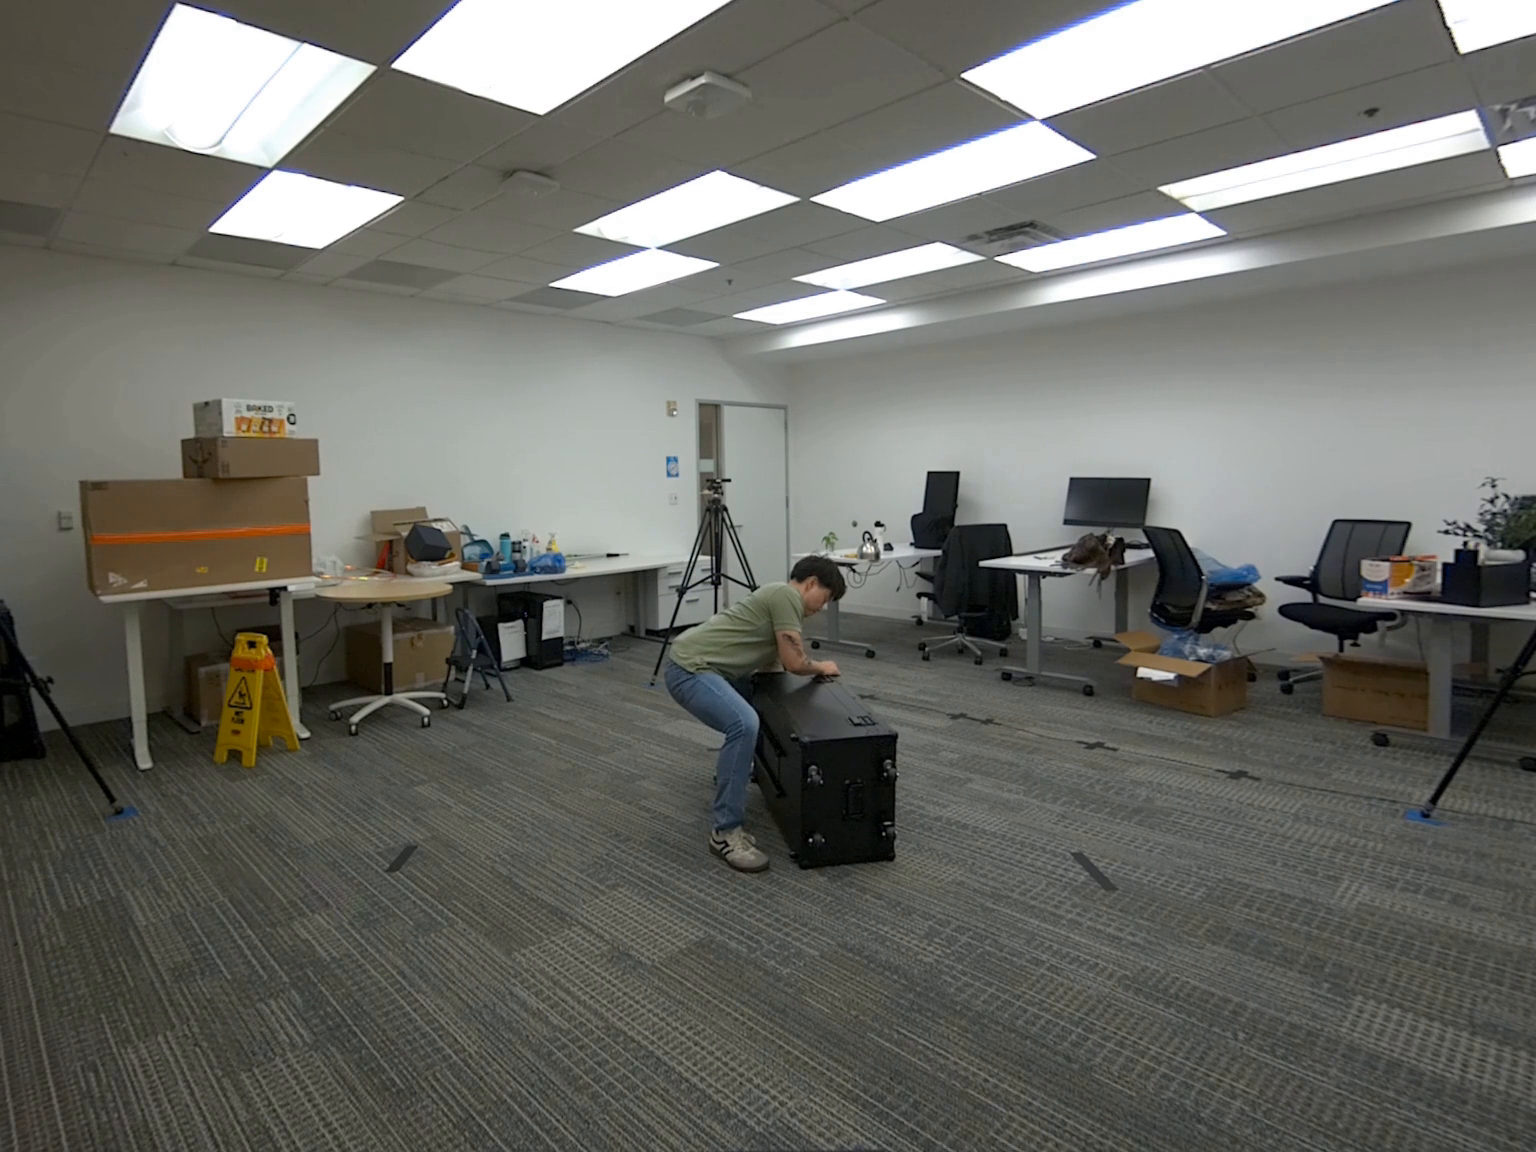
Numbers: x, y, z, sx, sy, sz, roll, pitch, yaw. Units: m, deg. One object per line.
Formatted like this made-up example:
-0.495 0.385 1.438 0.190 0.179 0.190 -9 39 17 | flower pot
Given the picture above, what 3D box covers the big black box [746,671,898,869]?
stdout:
0.196 0.727 3.375 0.392 0.516 0.878 -3 11 -12 | big black box
